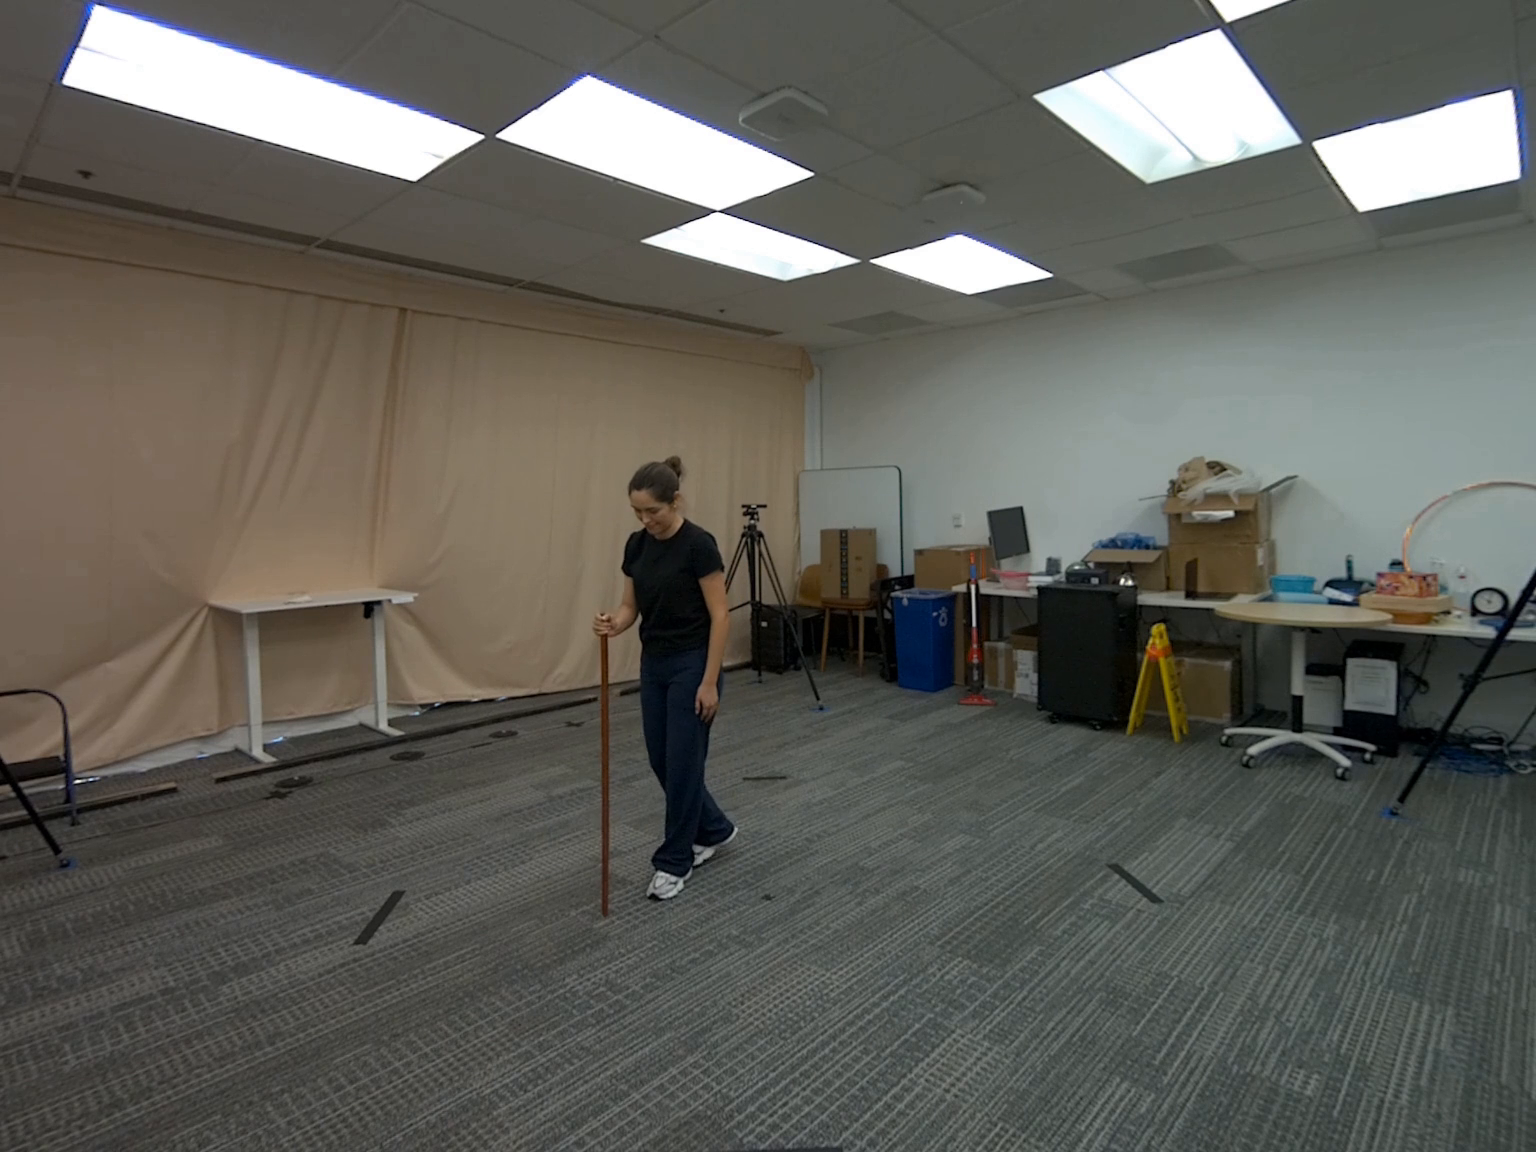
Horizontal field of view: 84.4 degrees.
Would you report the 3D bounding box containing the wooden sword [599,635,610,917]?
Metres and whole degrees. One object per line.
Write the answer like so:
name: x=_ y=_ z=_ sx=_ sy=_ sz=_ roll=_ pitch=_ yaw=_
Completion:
wooden sword: x=-0.557 y=0.654 z=2.914 sx=0.023 sy=1.028 sz=0.053 roll=2 pitch=-7 yaw=-40
